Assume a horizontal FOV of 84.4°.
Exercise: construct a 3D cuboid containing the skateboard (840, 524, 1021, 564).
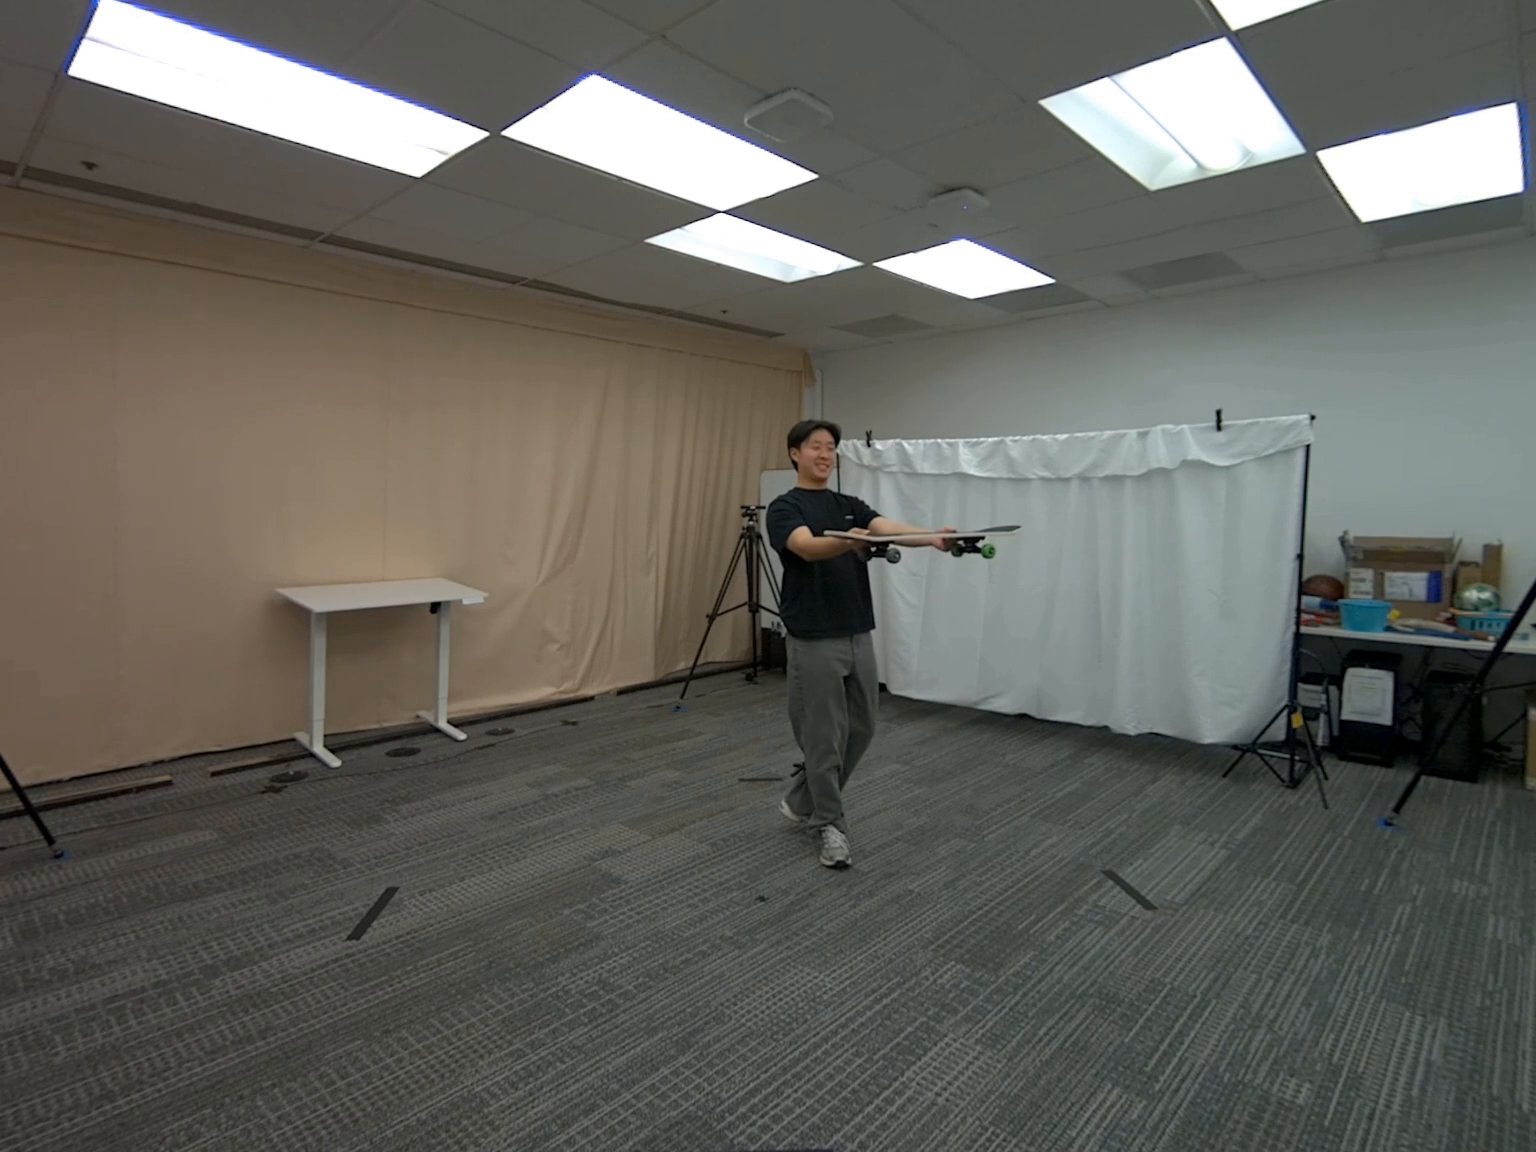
[{"bbox_3d":[0.543,-0.111,2.868,0.767,0.110,0.198,-3,4,-26],"label":"skateboard"}]
